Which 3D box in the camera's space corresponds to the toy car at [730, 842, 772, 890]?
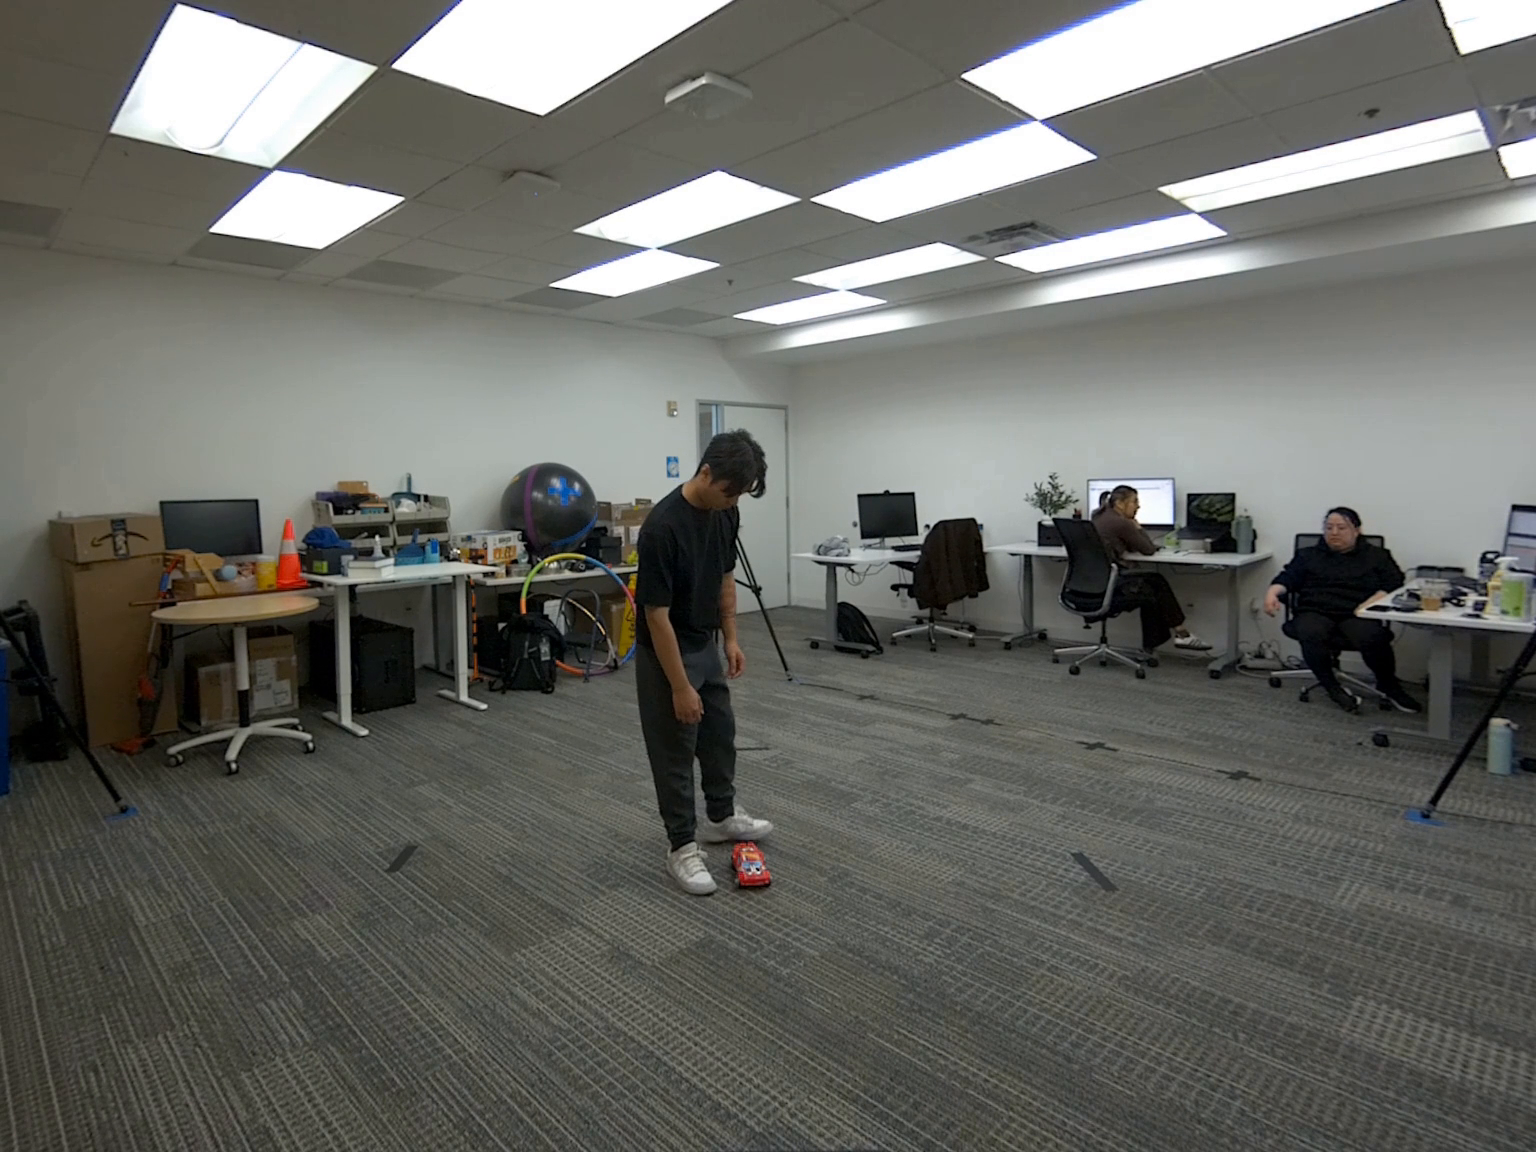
[{"bbox_3d":[-0.059,1.029,3.017,0.129,0.082,0.260,-1,18,-8],"label":"toy car"}]
